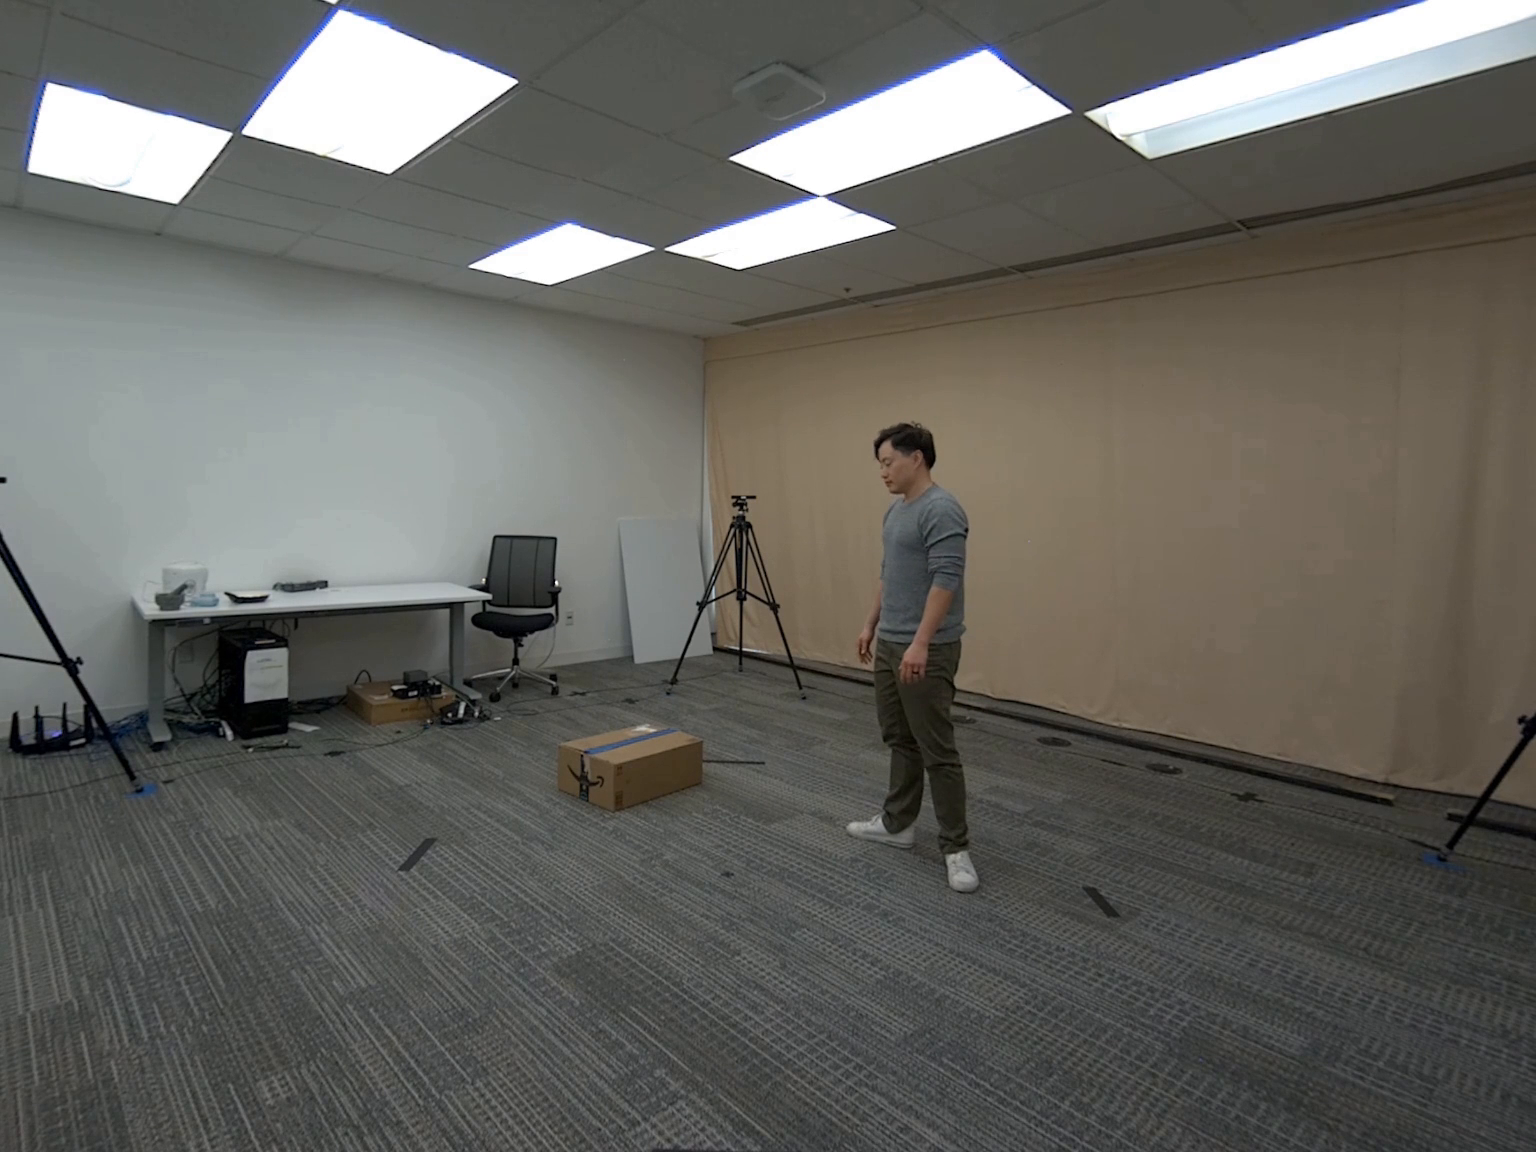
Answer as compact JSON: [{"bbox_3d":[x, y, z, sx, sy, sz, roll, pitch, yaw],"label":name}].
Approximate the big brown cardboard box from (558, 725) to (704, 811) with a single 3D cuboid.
[{"bbox_3d":[-0.658,0.897,4.031,0.428,0.232,0.576,5,7,40],"label":"big brown cardboard box"}]
